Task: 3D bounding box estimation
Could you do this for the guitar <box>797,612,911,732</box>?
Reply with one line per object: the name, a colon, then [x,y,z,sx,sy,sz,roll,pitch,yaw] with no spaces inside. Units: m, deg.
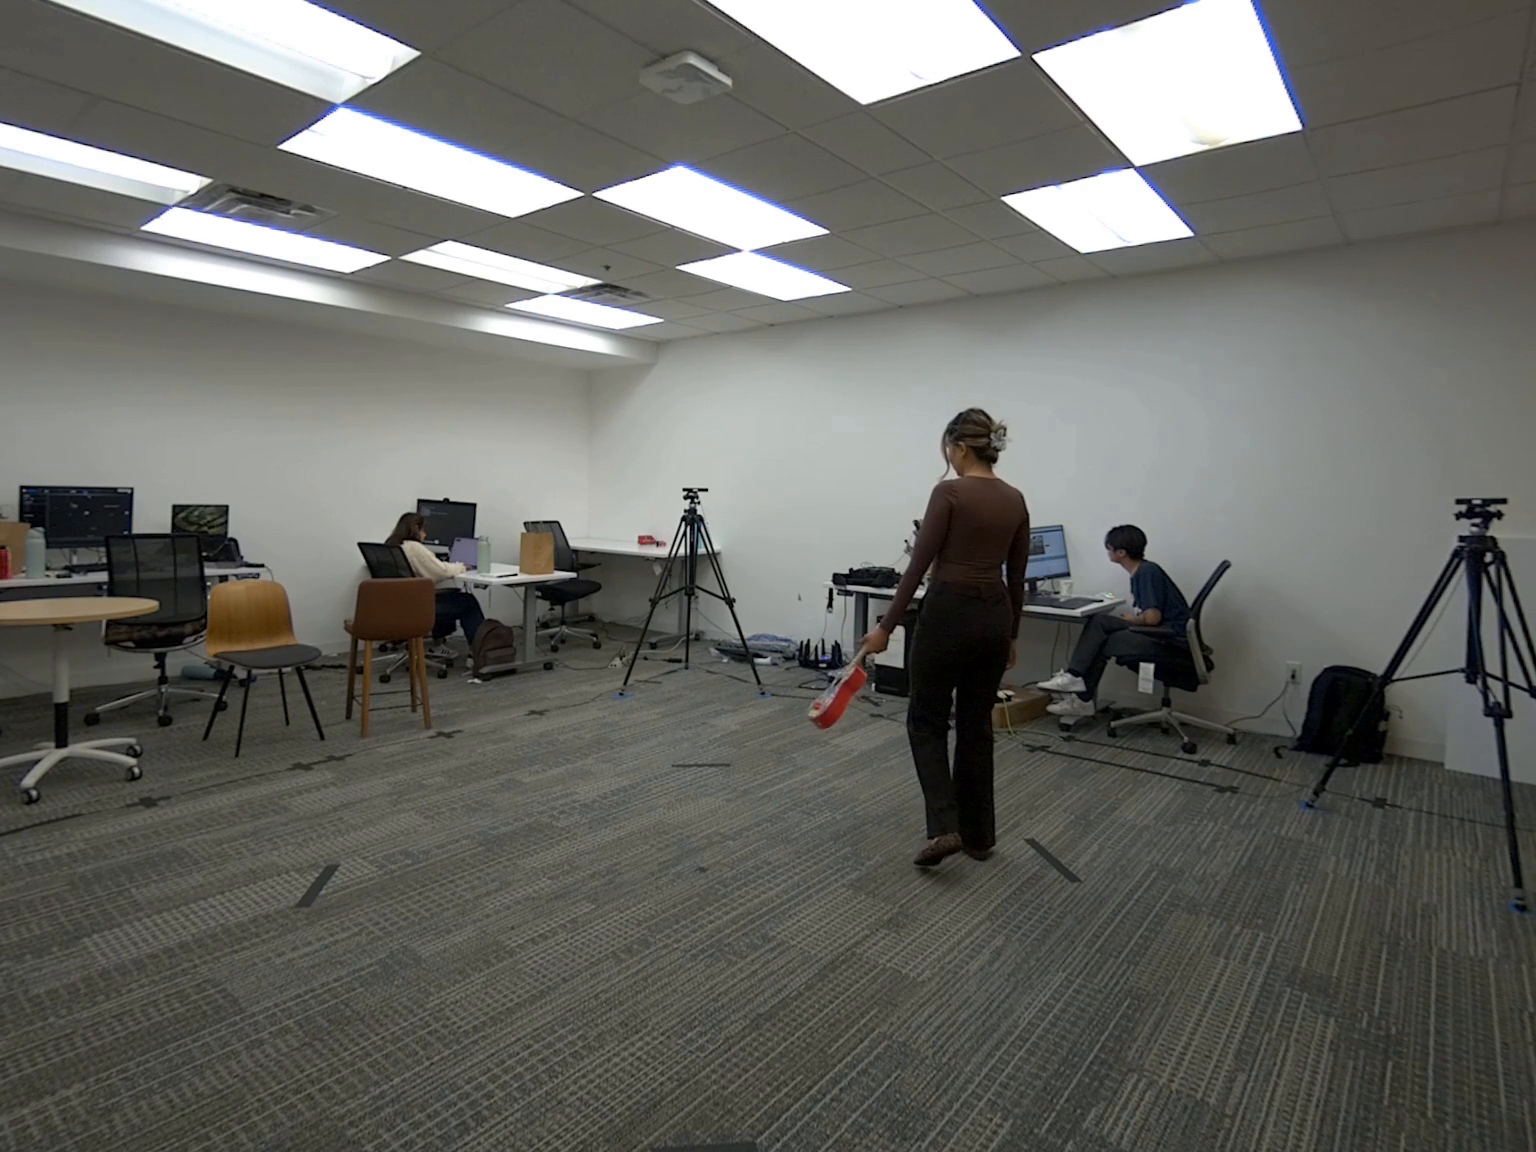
guitar: [0.315,0.350,3.146,0.070,0.498,0.194,42,-6,-6]
